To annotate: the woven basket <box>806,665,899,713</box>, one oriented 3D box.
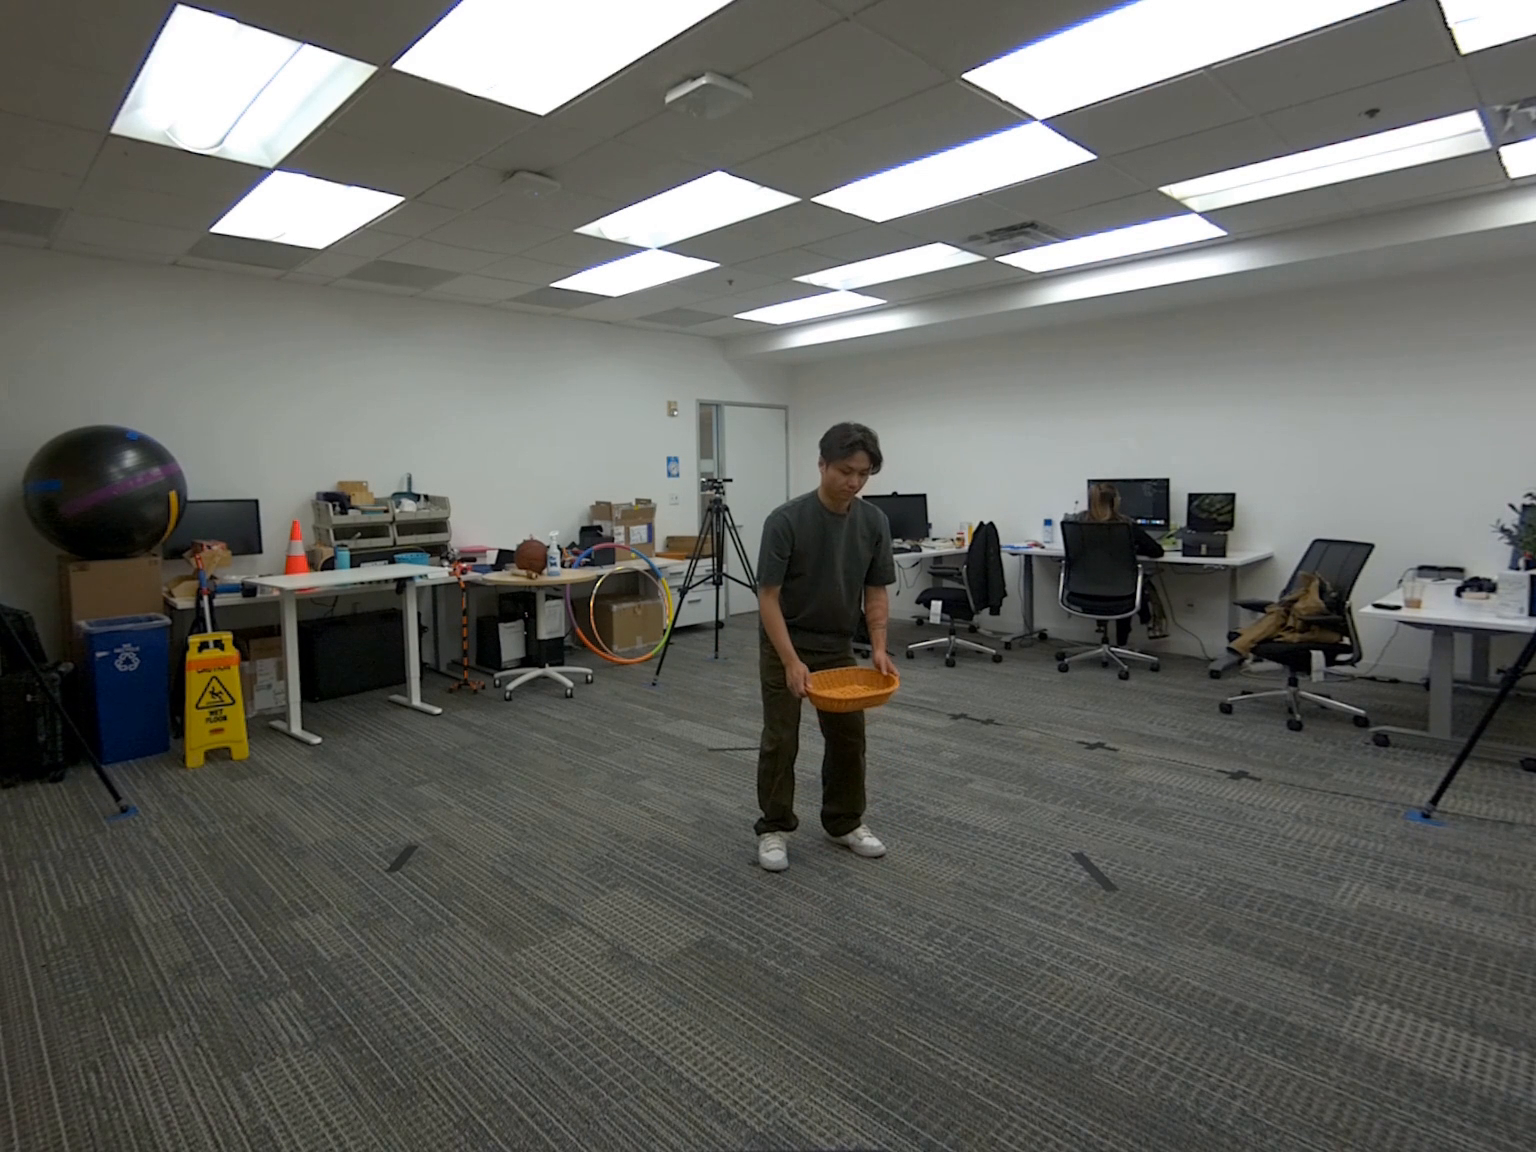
[{"bbox_3d":[0.289,0.396,2.929,0.344,0.072,0.260,-7,14,-24],"label":"woven basket"}]
